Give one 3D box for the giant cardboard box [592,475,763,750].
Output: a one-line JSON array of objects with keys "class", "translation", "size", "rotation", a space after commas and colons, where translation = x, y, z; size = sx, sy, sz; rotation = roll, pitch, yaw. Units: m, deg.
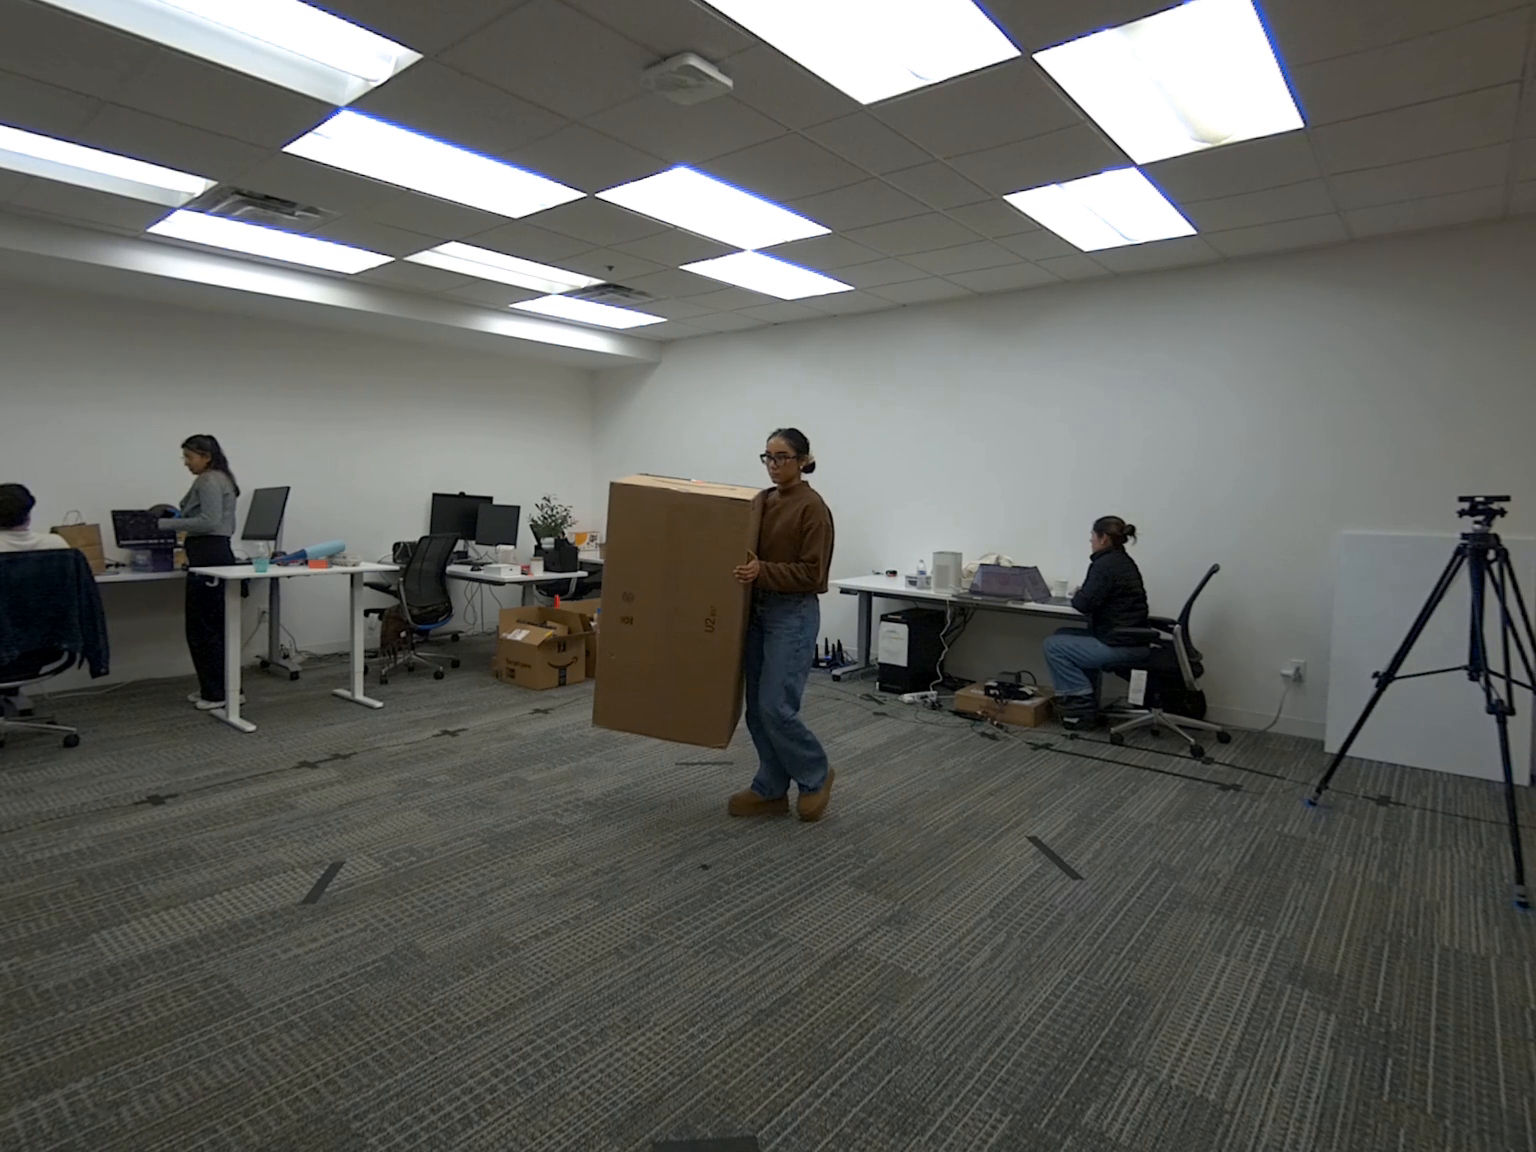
[{"class": "giant cardboard box", "translation": [-0.378, 0.126, 3.582], "size": [0.585, 1.017, 0.425], "rotation": [7, 10, 9]}]
